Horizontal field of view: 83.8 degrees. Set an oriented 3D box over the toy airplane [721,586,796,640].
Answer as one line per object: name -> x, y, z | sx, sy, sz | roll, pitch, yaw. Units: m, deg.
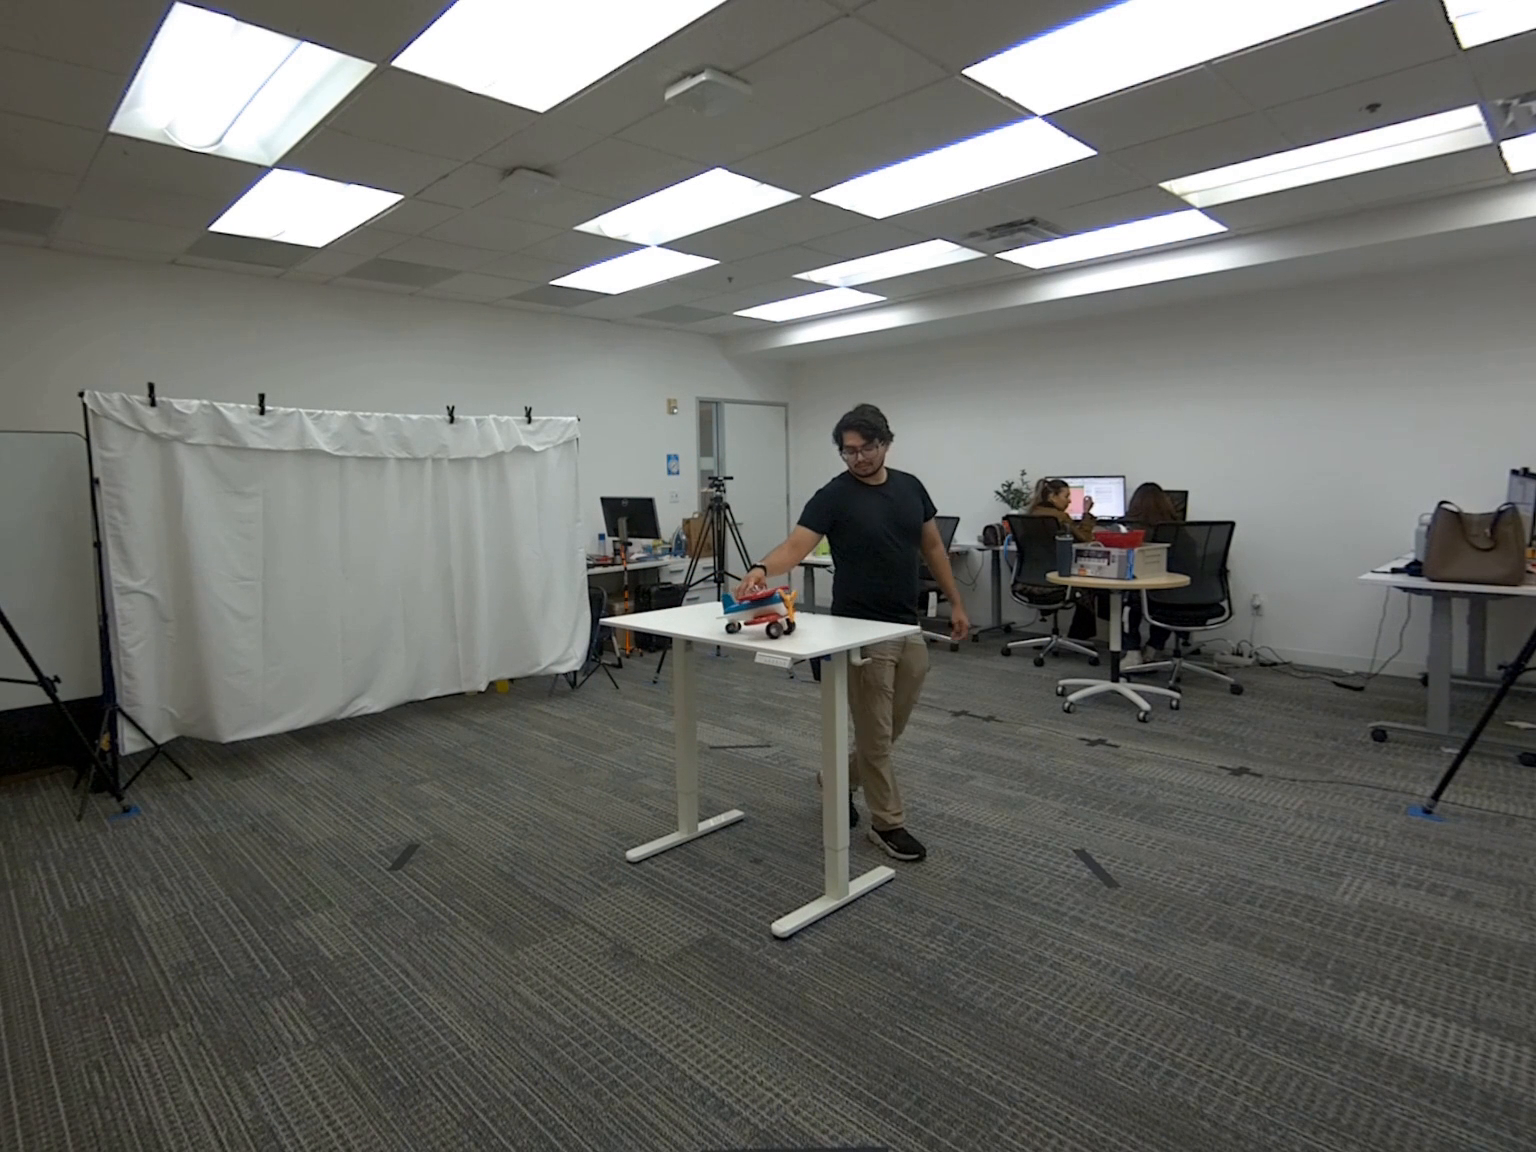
toy airplane -> -0.032, 0.118, 2.740 | 0.260, 0.156, 0.251 | 0, 4, 2
